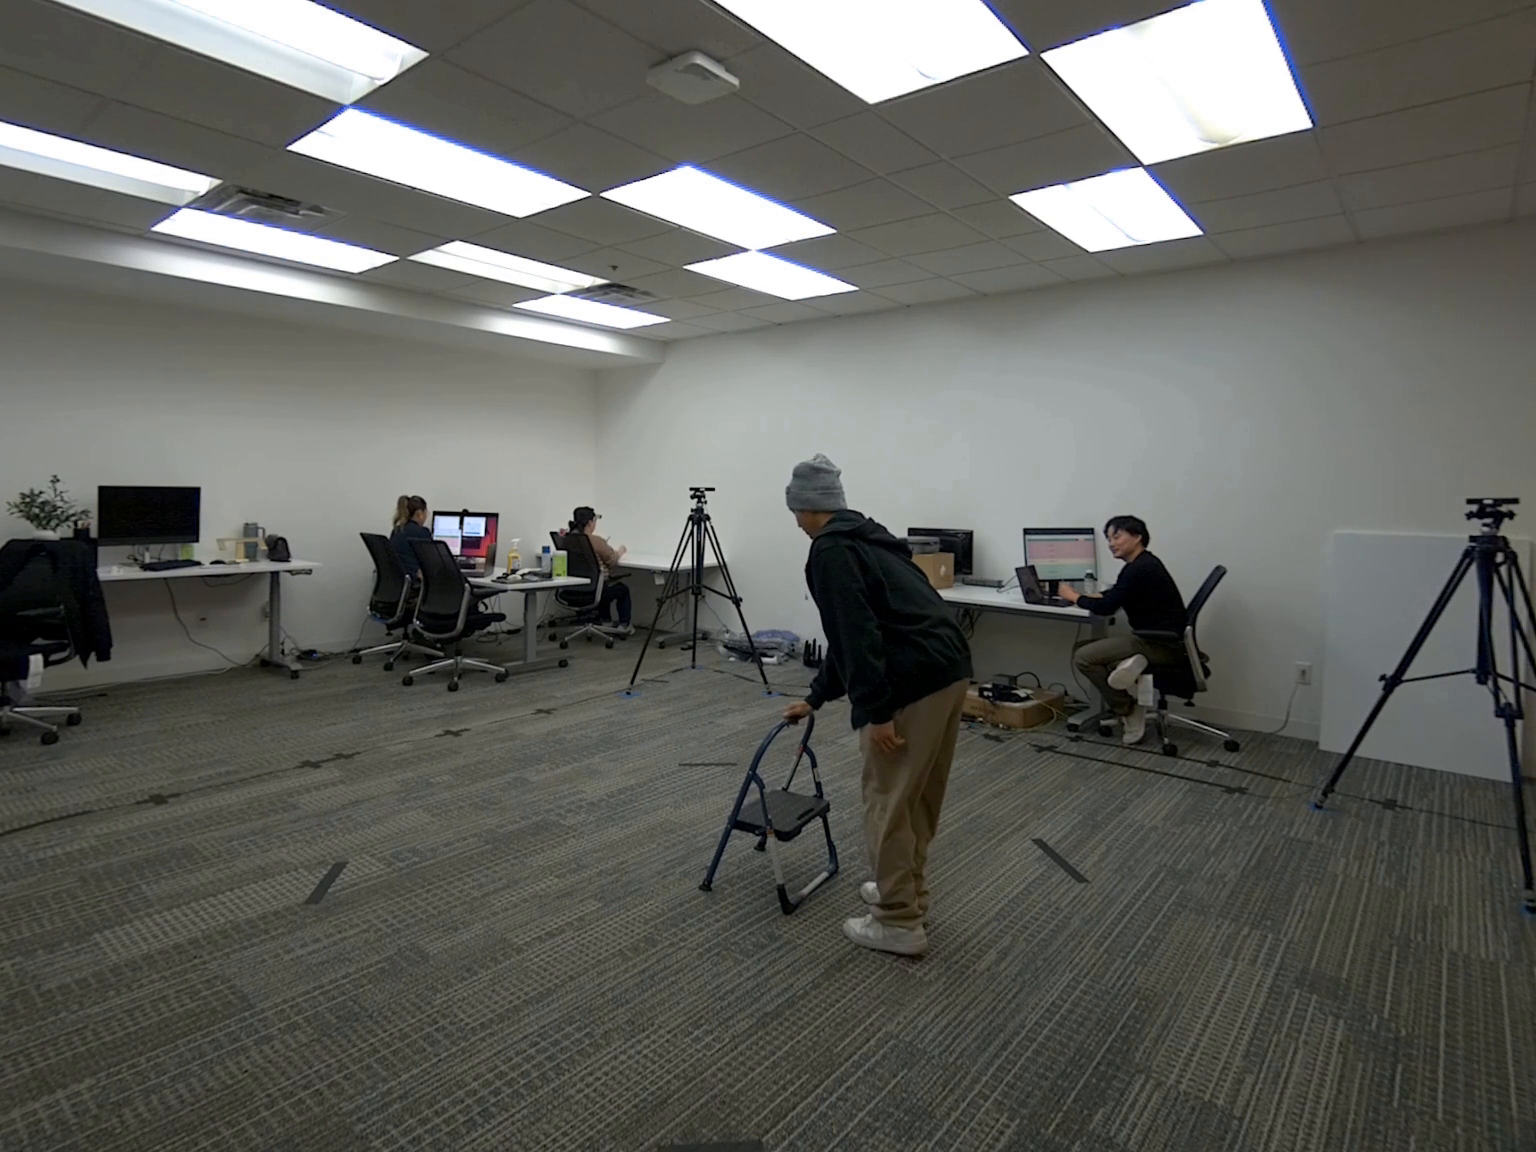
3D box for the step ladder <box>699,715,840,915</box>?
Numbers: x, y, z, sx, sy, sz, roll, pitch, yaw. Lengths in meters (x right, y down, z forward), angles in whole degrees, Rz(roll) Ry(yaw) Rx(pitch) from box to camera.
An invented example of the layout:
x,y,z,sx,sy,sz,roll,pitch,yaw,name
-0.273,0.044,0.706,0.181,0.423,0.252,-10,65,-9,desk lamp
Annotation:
x,y,z,sx,sy,sz,roll,pitch,yaw,name
0.013,0.776,3.019,0.359,0.604,0.420,3,4,29,step ladder
